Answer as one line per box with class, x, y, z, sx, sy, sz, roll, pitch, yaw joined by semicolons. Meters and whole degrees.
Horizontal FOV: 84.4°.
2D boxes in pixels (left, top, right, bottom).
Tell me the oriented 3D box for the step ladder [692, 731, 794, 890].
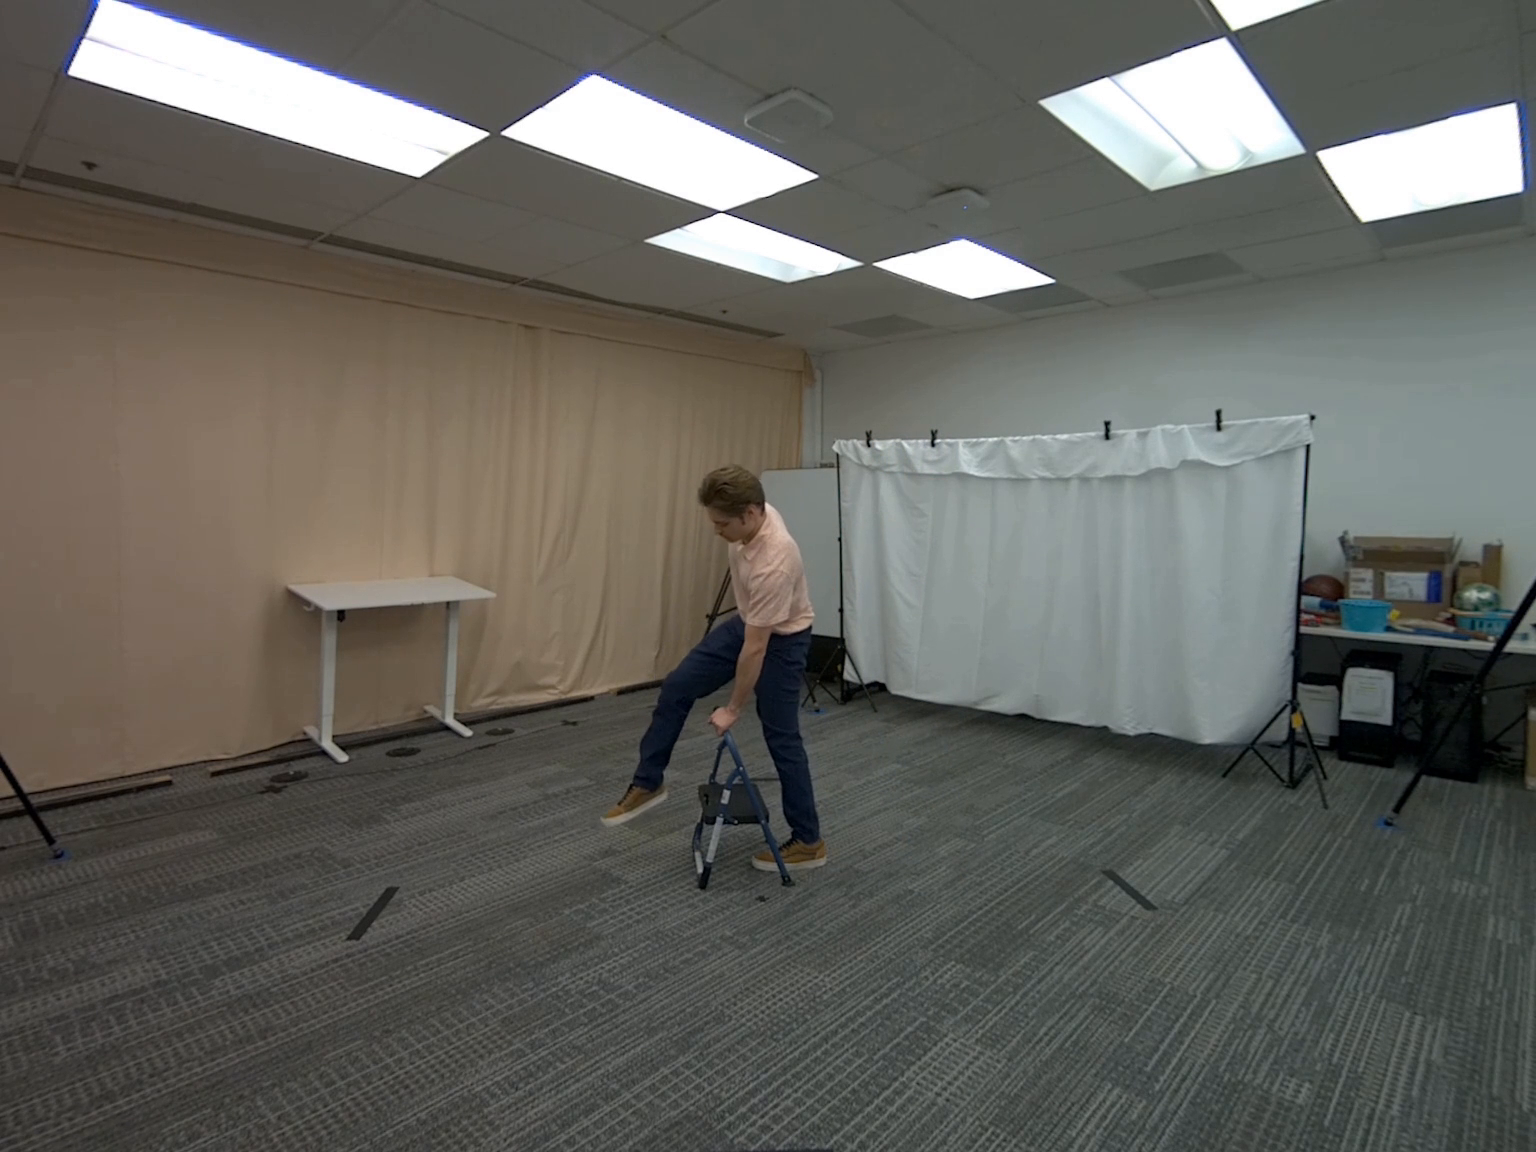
step ladder;-0.114;0.822;3.260;0.346;0.605;0.435;-1;3;-8
